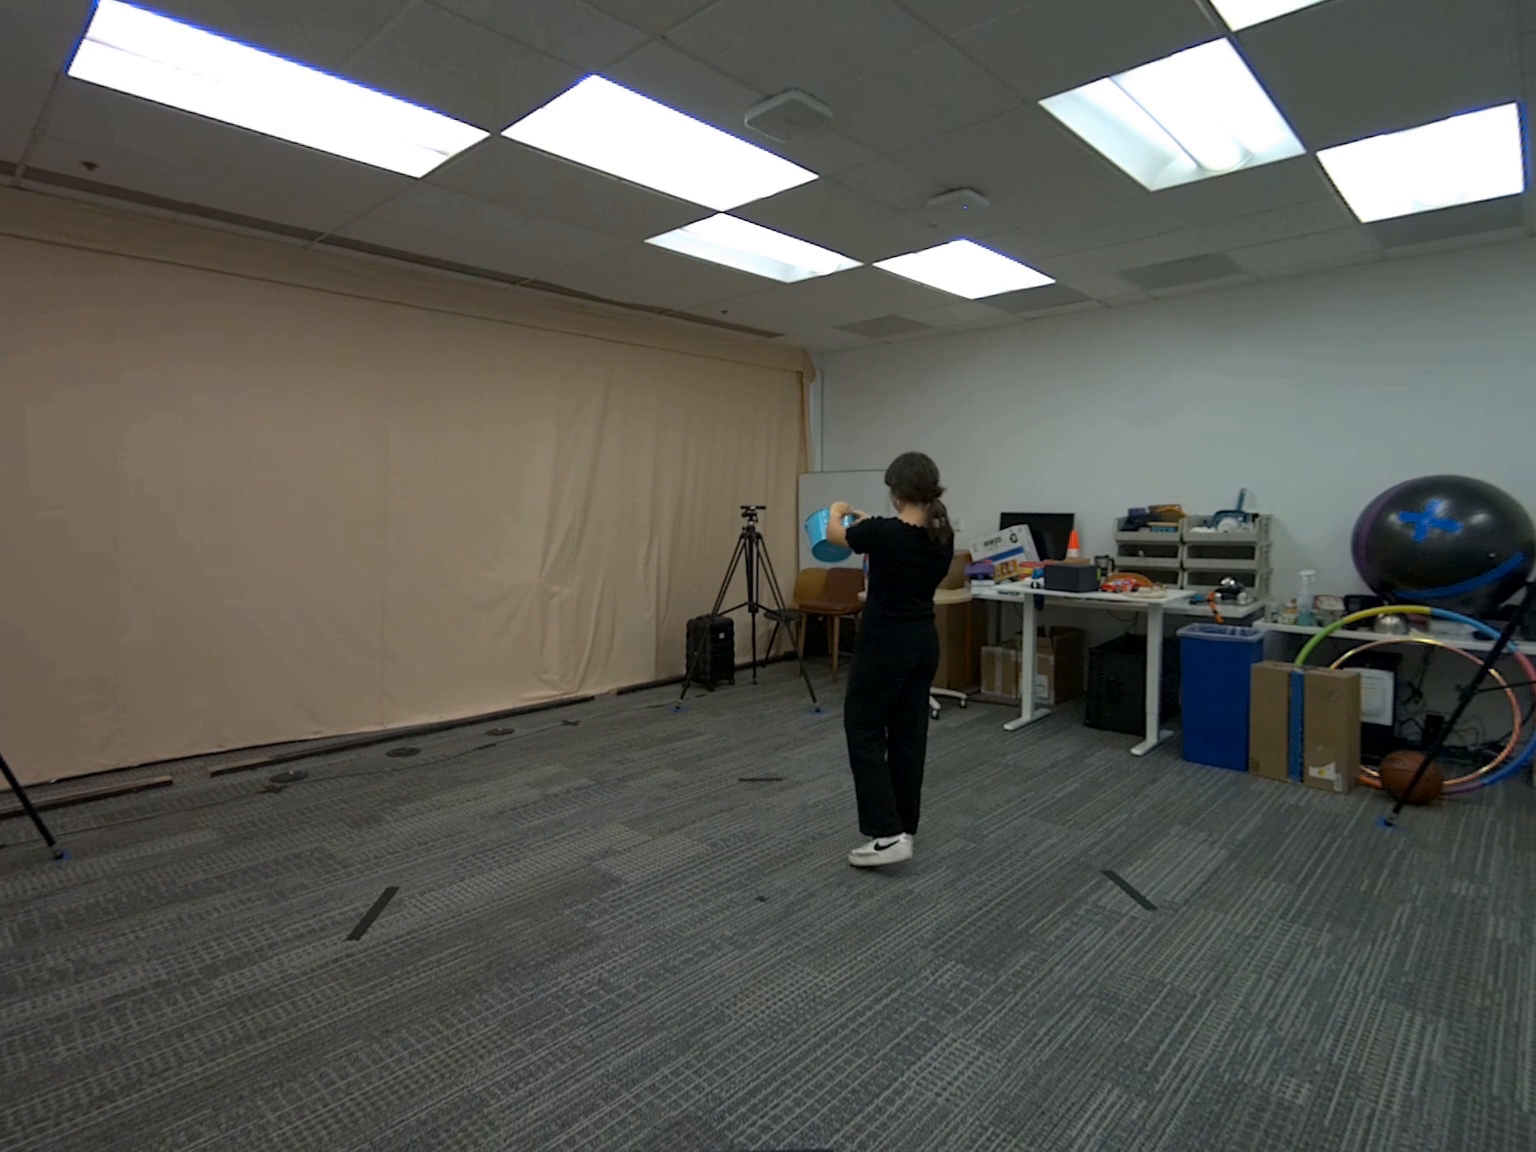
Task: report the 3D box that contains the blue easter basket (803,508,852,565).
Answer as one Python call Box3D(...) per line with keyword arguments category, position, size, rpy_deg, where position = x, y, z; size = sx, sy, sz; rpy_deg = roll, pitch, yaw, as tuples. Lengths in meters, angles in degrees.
Box3D(category="blue easter basket", position=(0.296, -0.168, 3.776), size=(0.244, 0.158, 0.239), rpy_deg=(2, -37, 0))
